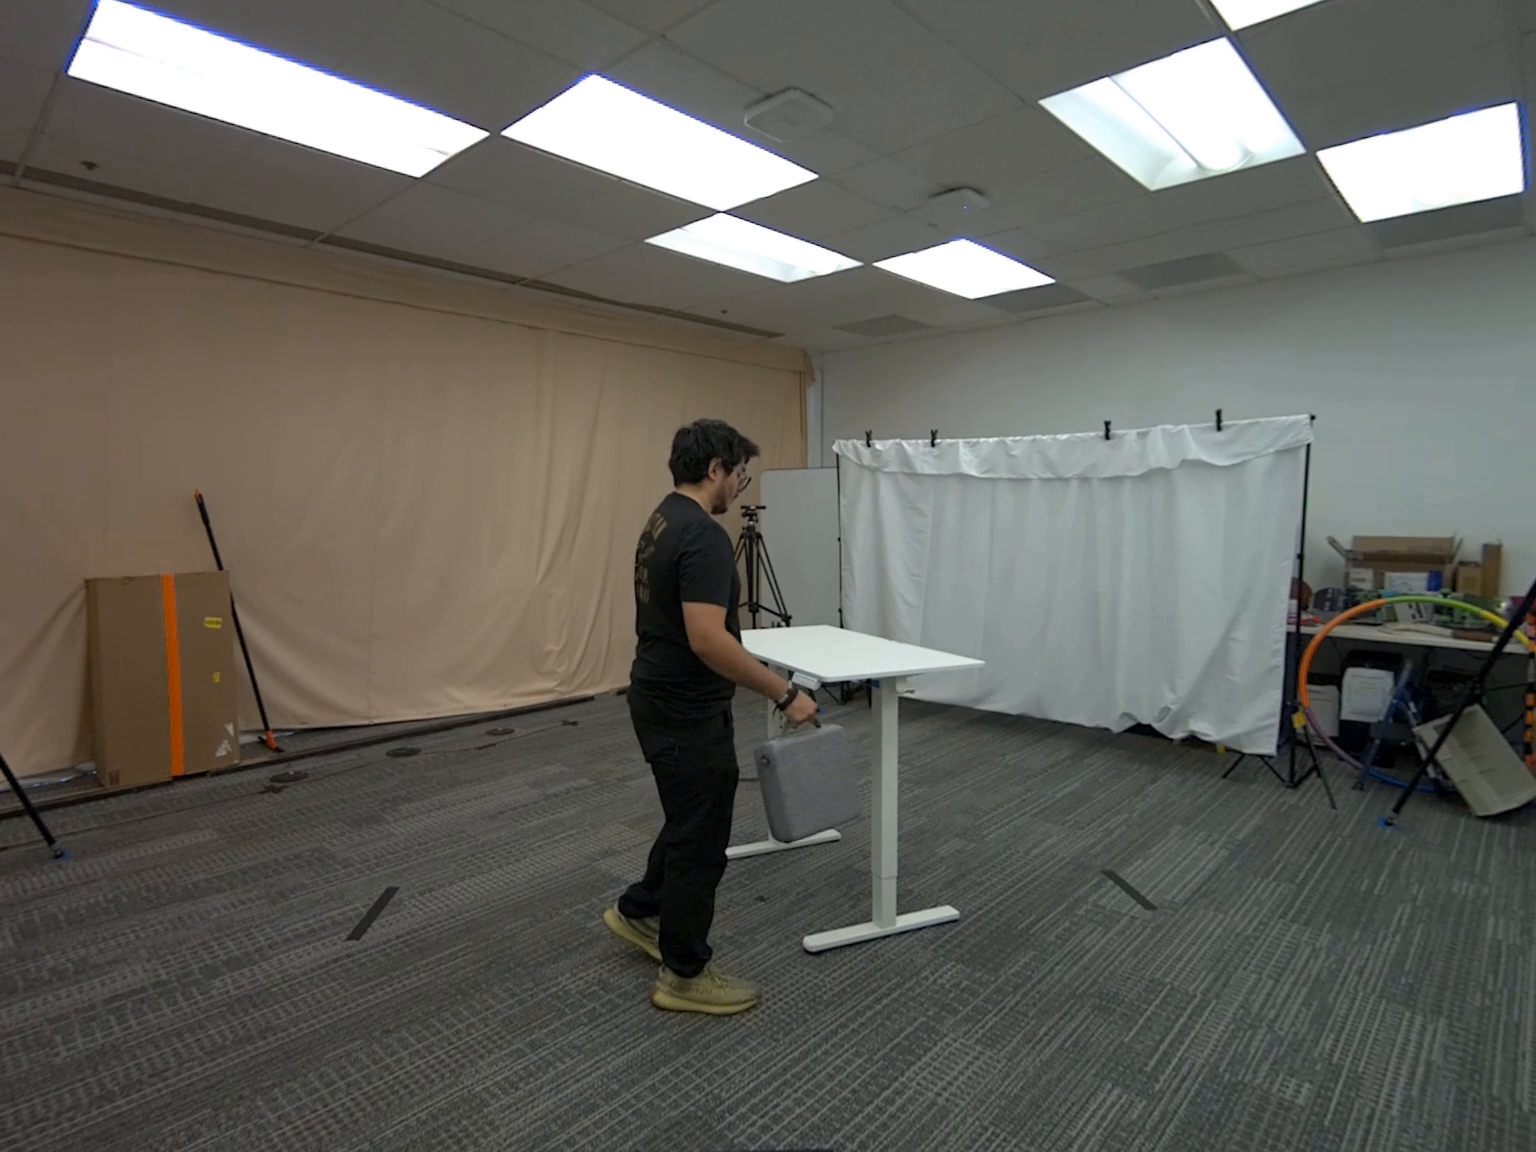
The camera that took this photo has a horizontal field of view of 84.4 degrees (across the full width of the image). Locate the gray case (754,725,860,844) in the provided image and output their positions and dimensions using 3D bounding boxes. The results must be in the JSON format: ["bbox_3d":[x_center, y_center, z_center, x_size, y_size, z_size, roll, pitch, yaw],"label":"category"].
[{"bbox_3d":[0.104,0.520,2.183,0.250,0.262,0.107,-8,-6,-35],"label":"gray case"}]
